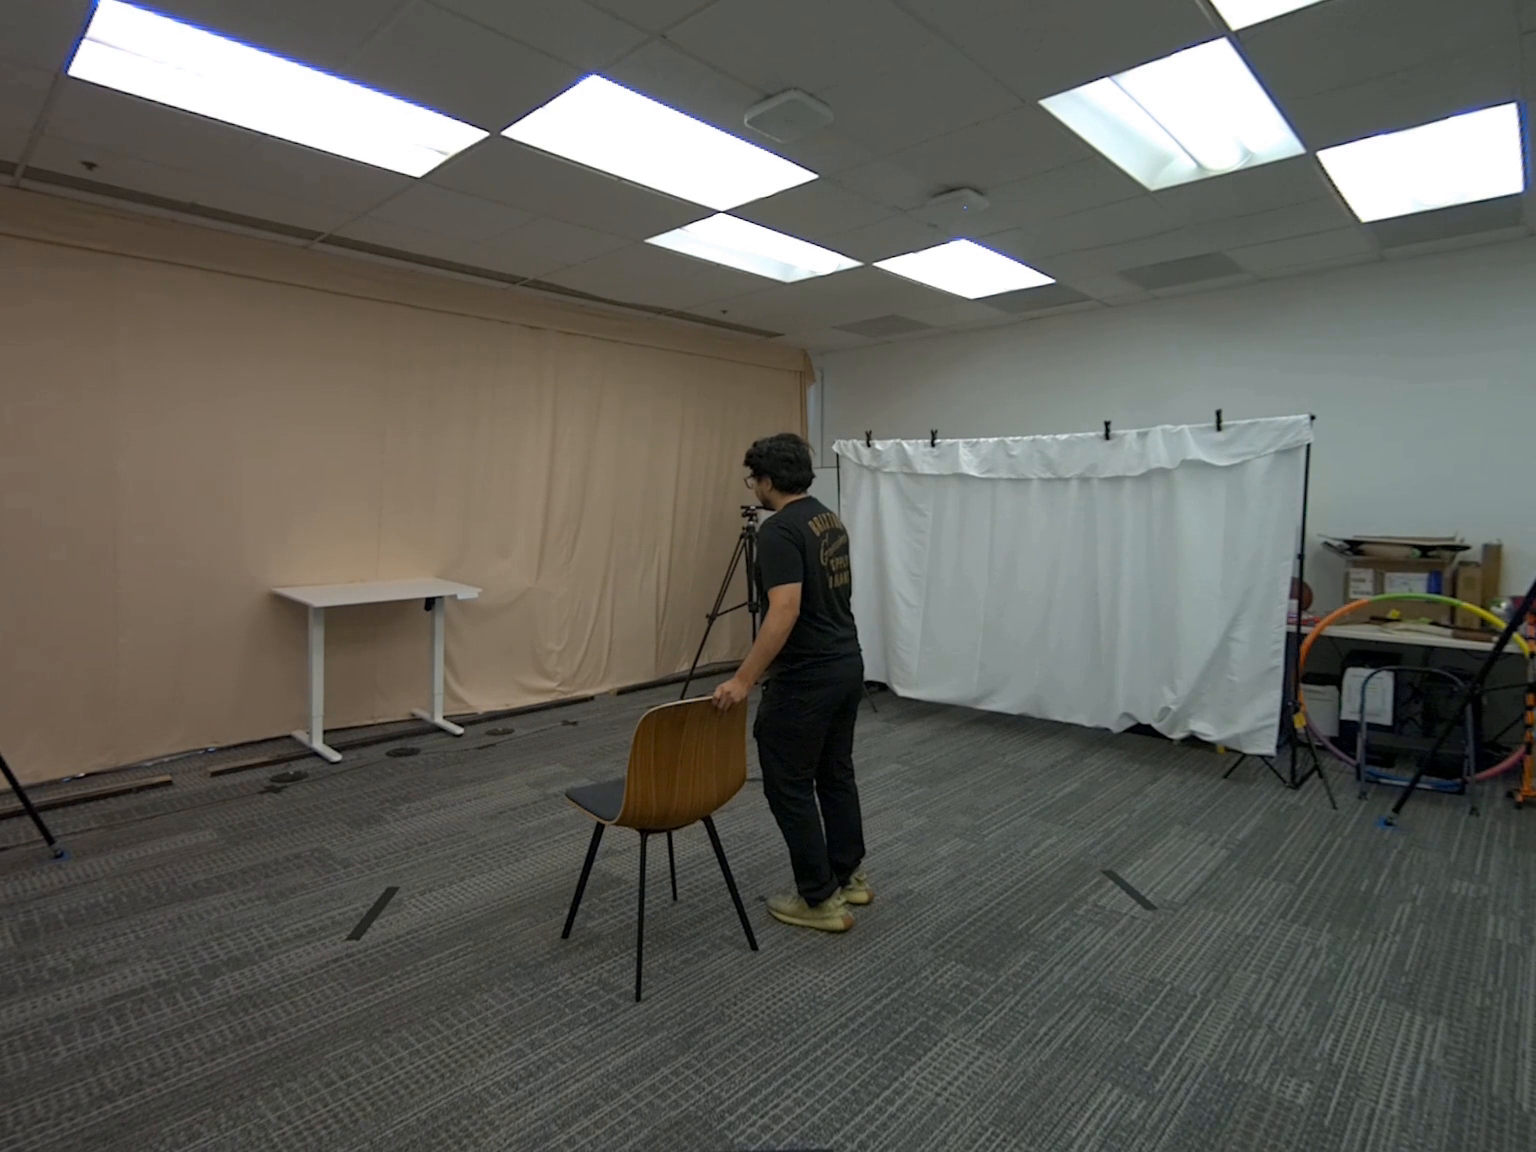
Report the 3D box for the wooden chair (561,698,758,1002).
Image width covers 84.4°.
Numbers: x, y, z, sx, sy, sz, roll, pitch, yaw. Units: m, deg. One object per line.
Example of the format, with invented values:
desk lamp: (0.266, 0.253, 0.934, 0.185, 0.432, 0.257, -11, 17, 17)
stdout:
wooden chair: (-0.355, 0.748, 2.653, 0.463, 0.874, 0.541, -2, 8, -40)
